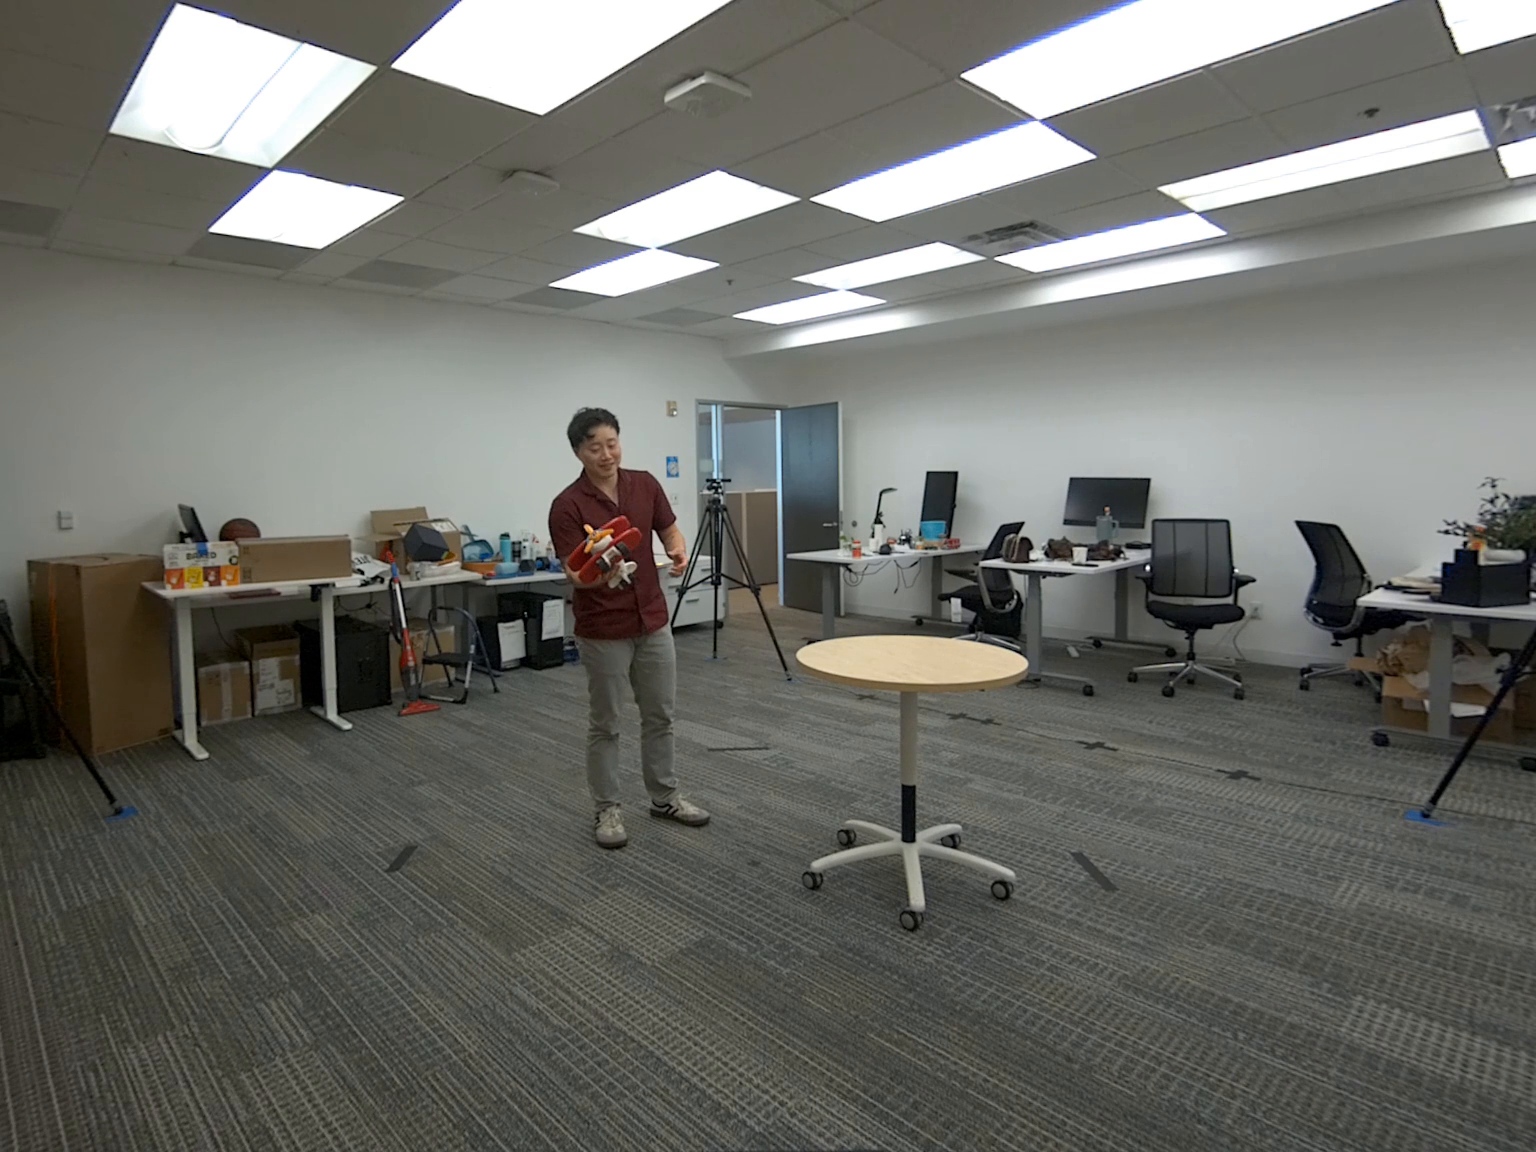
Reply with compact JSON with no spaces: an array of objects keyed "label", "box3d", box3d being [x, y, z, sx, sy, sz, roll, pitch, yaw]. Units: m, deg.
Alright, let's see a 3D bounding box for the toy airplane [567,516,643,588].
[{"label":"toy airplane","box3d":[-0.546,-0.052,2.910,0.248,0.255,0.161,-28,61,-37]}]
